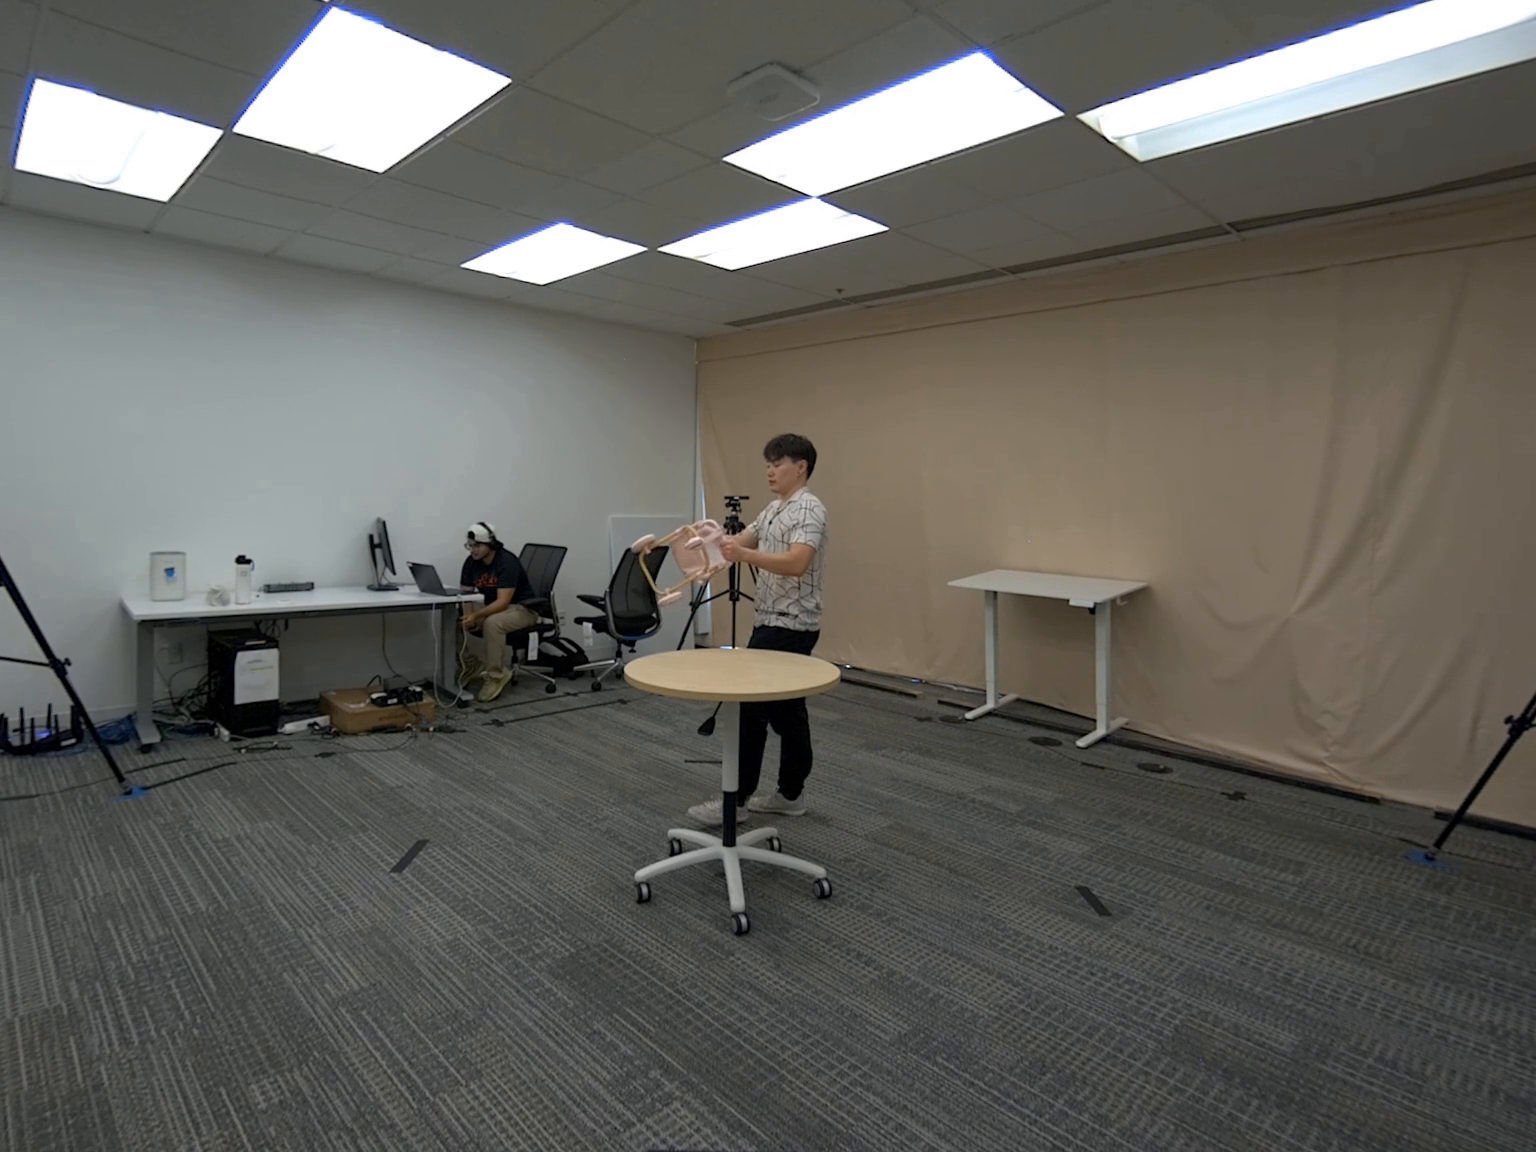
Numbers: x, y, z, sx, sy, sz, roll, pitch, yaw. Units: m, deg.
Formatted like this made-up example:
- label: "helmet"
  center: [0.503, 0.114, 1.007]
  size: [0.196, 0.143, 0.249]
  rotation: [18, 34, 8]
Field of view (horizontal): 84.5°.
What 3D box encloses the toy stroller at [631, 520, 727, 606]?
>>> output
- label: "toy stroller"
  center: [-0.307, -0.087, 3.422]
  size: [0.343, 0.284, 0.527]
  rotation: [-34, -8, 23]
